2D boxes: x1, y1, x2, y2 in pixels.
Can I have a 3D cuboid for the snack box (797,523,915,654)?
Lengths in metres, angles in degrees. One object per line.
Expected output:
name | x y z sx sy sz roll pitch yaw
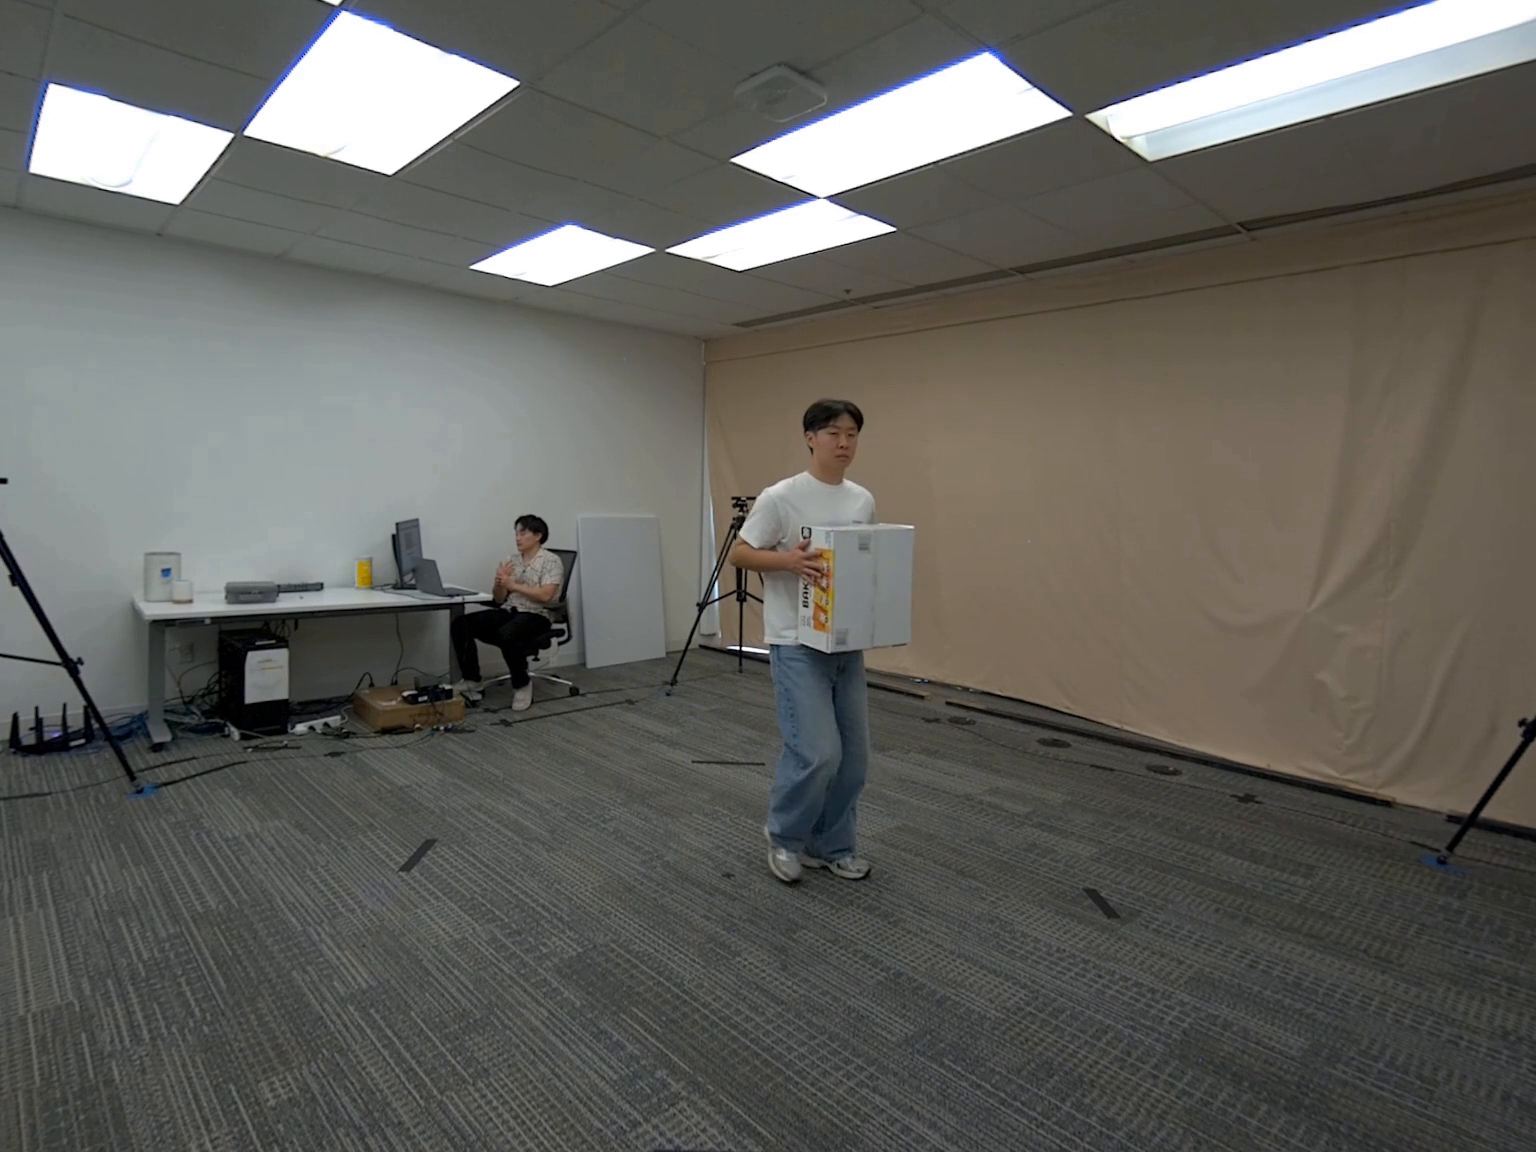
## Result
snack box | 0.292 0.033 2.875 0.334 0.404 0.210 -2 5 -27
